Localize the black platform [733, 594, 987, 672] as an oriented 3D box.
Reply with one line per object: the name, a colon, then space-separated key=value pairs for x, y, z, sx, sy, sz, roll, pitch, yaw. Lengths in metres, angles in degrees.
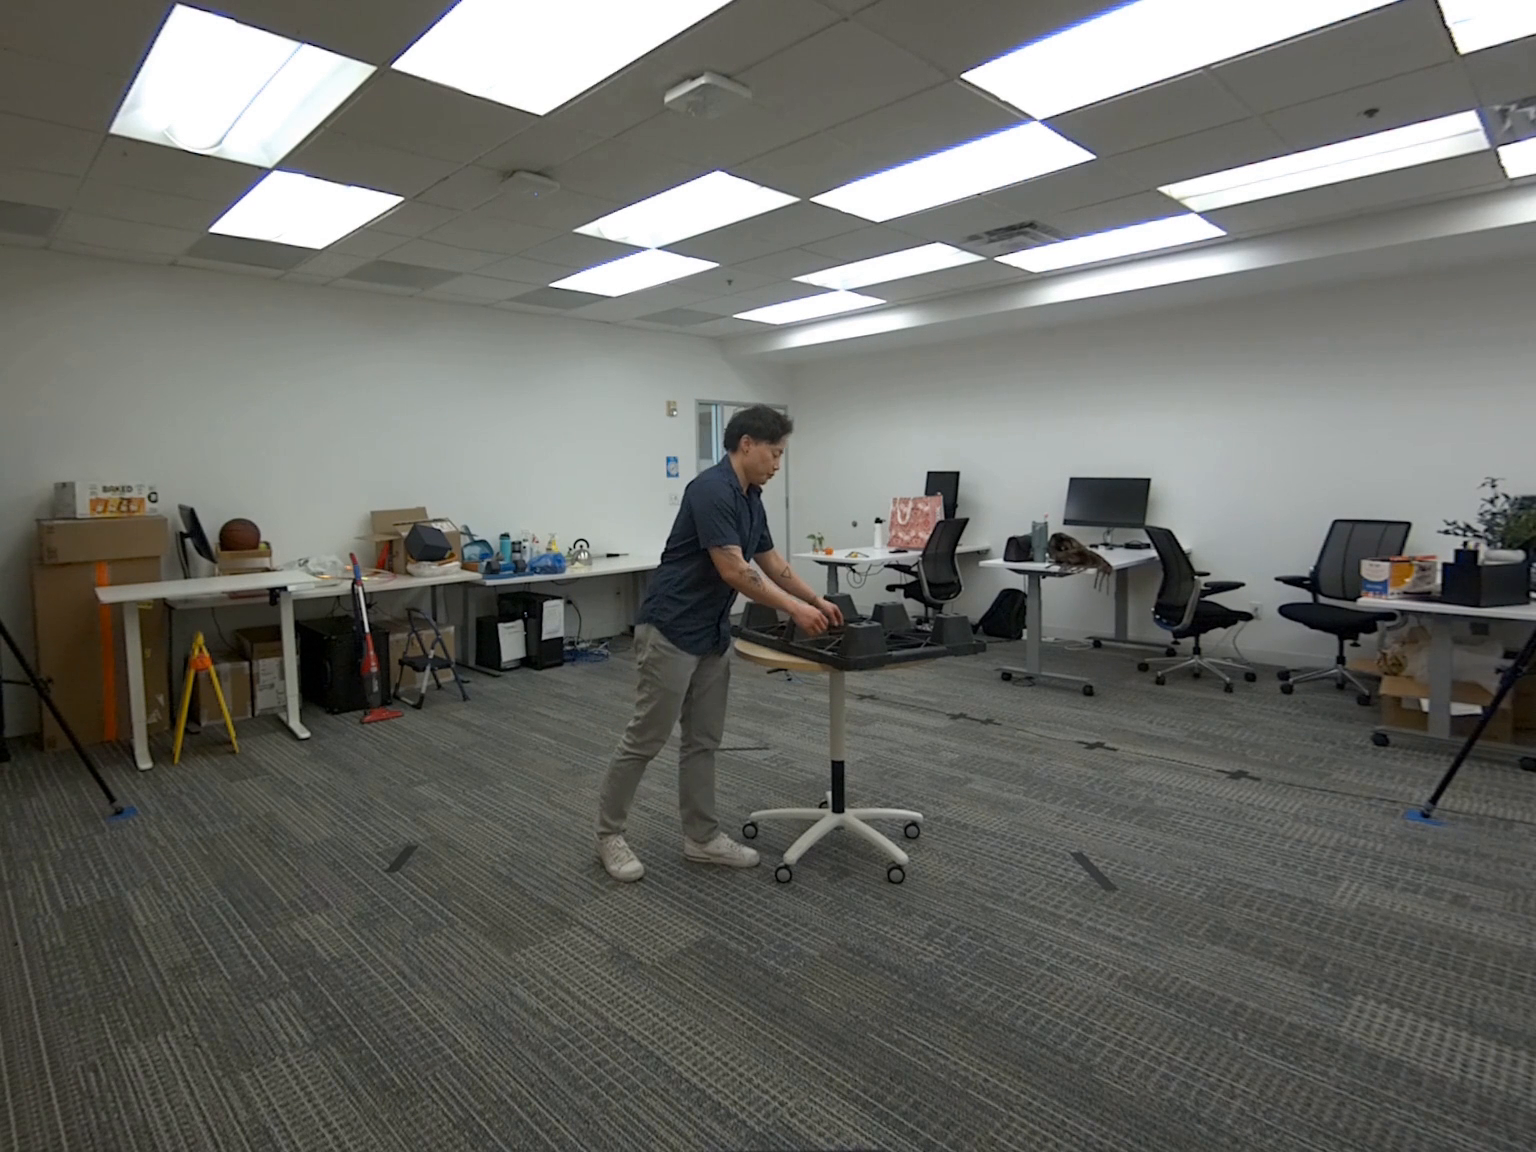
black platform: x=0.308 y=0.184 z=3.159 sx=0.591 sy=0.142 sz=0.828 roll=-5 pitch=7 yaw=-29
